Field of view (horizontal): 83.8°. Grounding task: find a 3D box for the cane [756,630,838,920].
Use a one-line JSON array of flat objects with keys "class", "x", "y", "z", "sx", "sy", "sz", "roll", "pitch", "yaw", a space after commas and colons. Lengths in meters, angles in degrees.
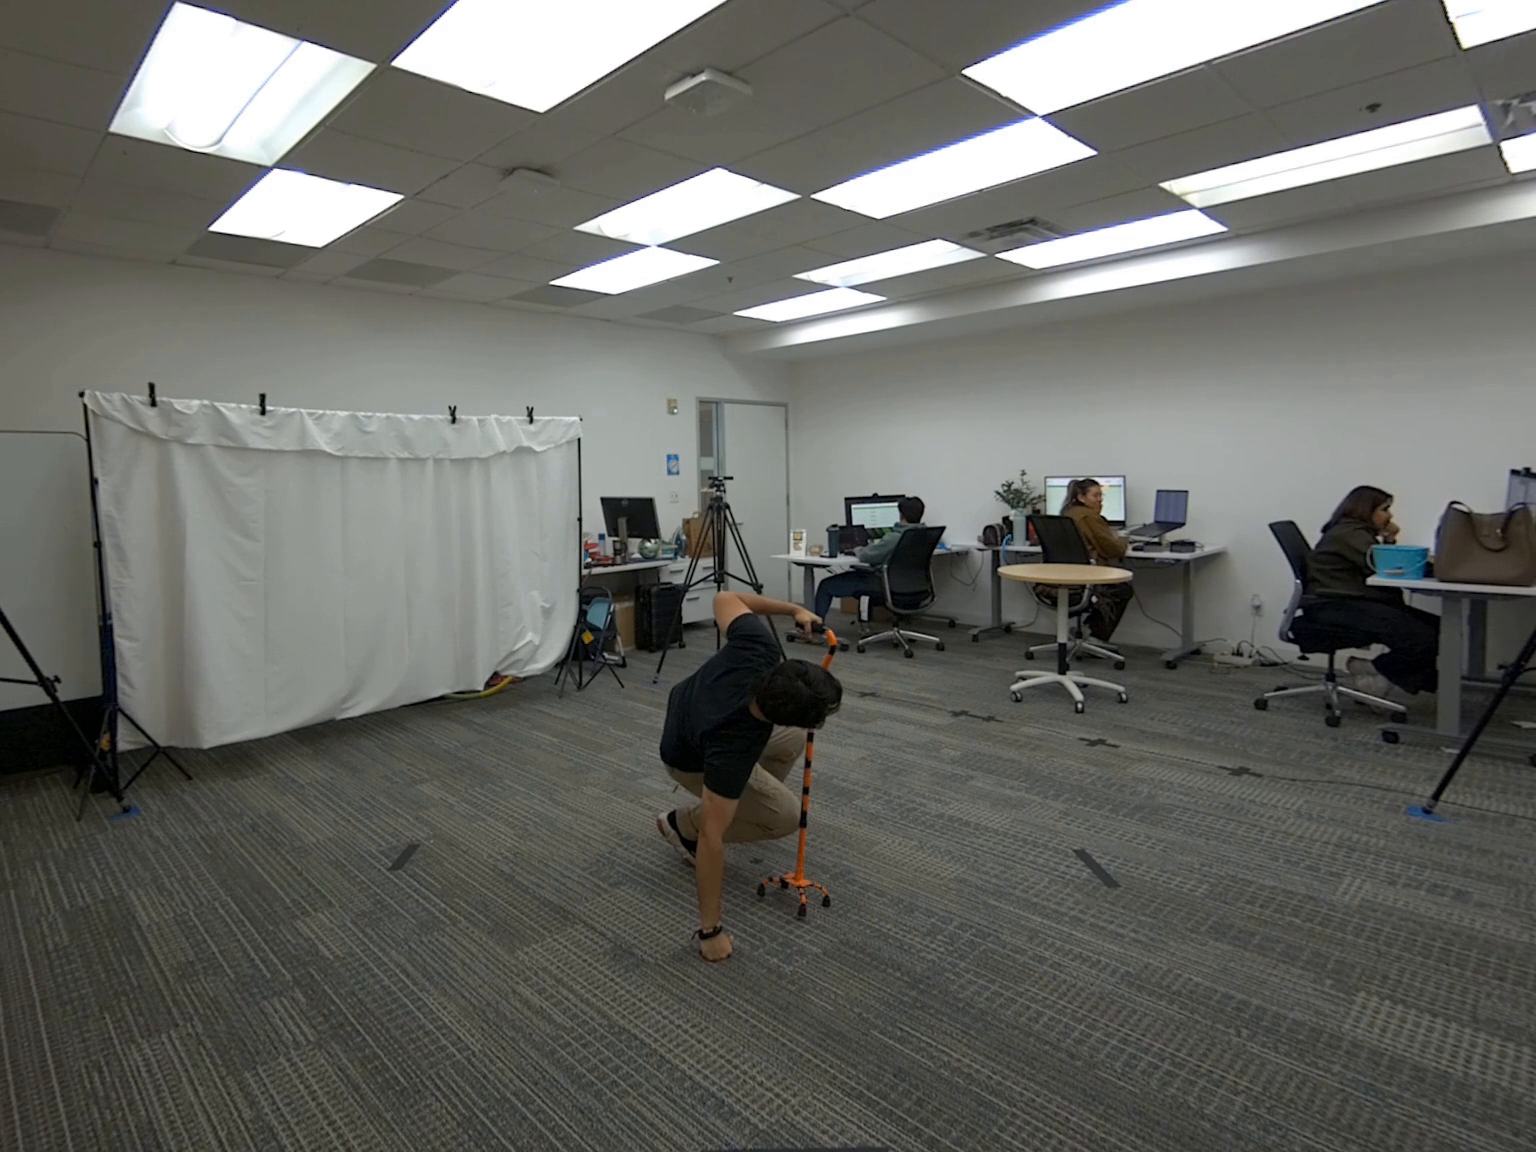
[{"class": "cane", "x": 0.127, "y": 0.614, "z": 2.796, "sx": 0.213, "sy": 0.908, "sz": 0.147, "roll": 6, "pitch": 0, "yaw": 44}]
